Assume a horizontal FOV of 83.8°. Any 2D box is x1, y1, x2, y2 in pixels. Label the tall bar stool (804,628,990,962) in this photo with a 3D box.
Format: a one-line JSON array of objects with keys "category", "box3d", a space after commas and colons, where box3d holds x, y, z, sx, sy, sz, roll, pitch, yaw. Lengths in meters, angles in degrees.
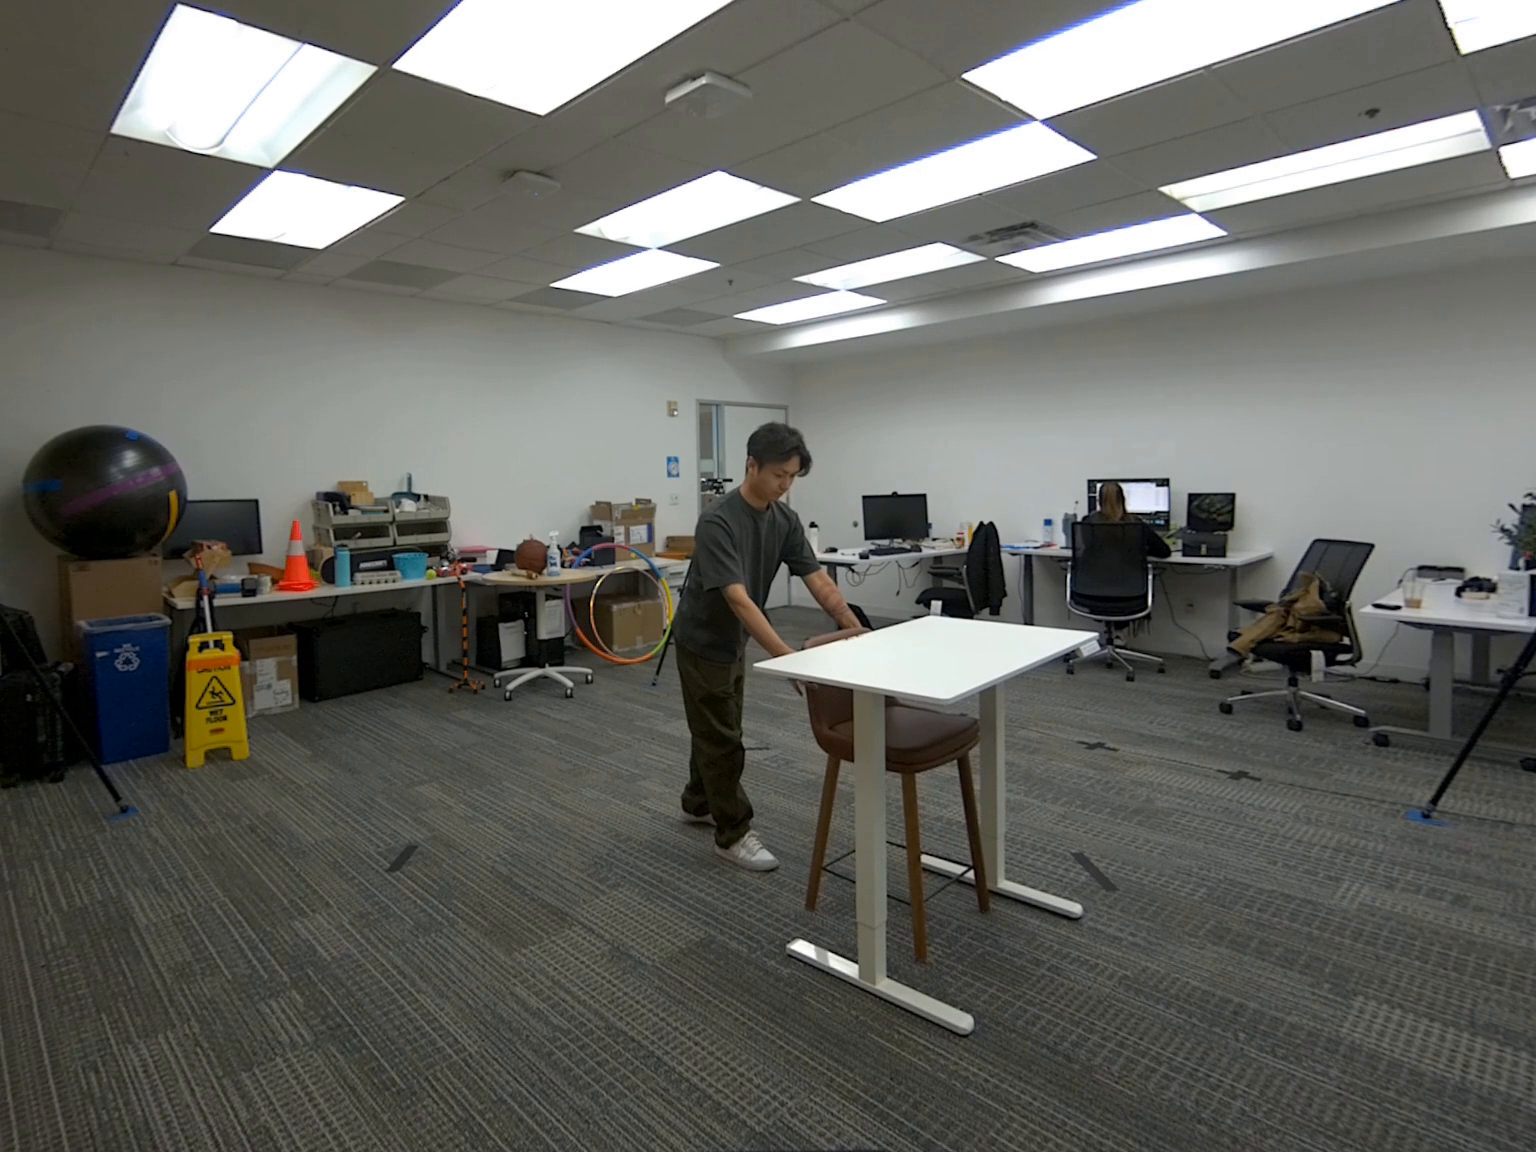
[{"category": "tall bar stool", "box3d": [0.398, 0.643, 2.728, 0.481, 0.888, 0.444, -1, 3, 43]}]
